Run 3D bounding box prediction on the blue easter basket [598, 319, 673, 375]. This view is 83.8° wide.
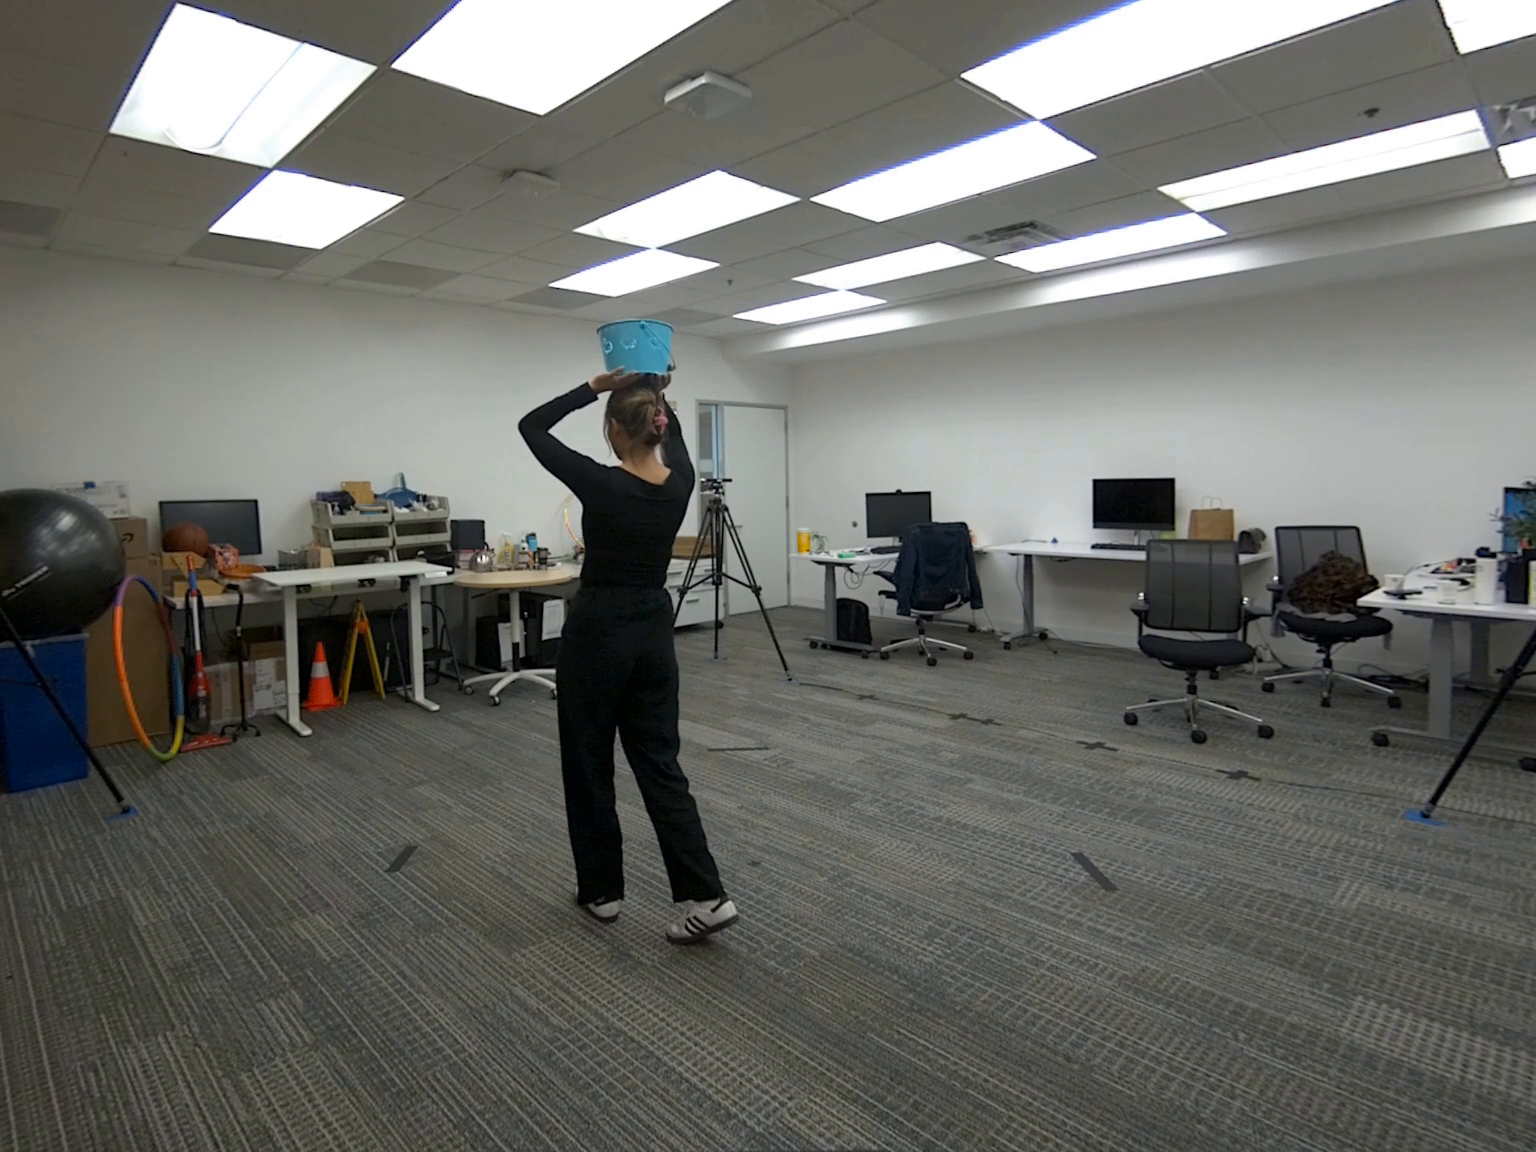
[{"bbox_3d":[-0.395,-0.677,2.607,0.243,0.156,0.244,-5,1,-2],"label":"blue easter basket"}]
